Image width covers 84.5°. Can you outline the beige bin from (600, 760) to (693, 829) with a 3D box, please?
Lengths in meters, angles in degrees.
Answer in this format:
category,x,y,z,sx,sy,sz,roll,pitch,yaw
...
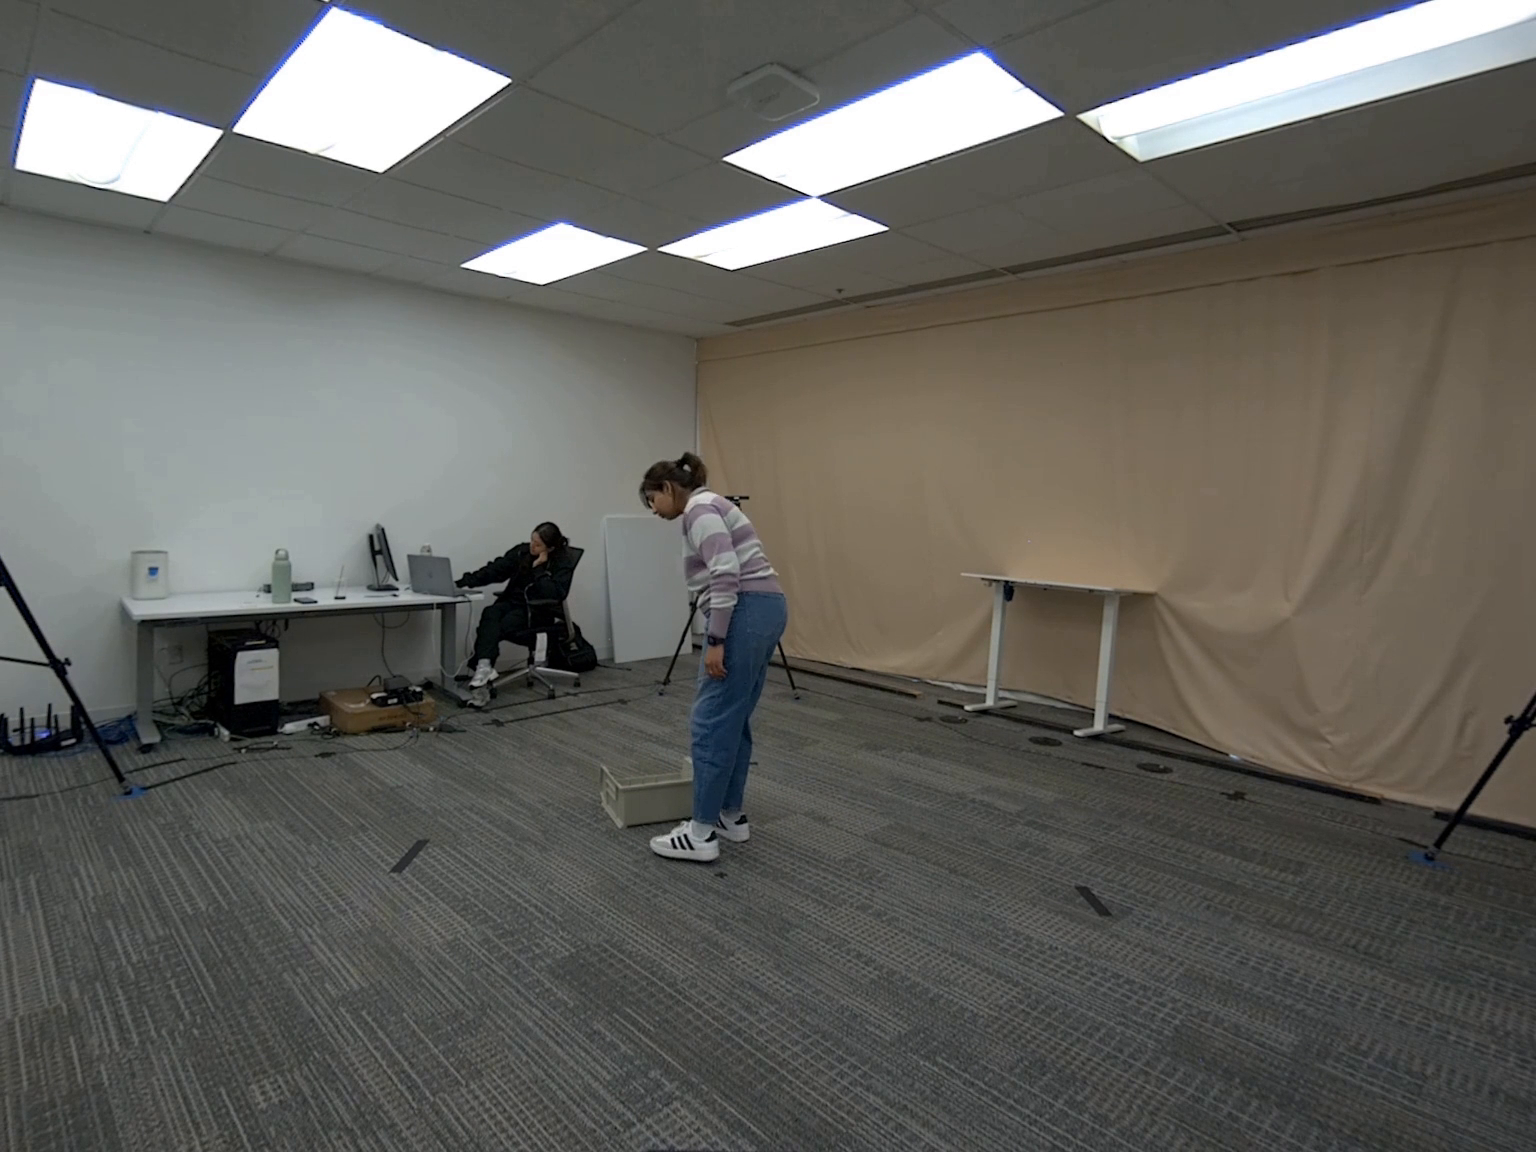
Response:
category,x,y,z,sx,sy,sz,roll,pitch,yaw
beige bin,-0.512,0.949,3.747,0.415,0.188,0.385,0,6,-25
